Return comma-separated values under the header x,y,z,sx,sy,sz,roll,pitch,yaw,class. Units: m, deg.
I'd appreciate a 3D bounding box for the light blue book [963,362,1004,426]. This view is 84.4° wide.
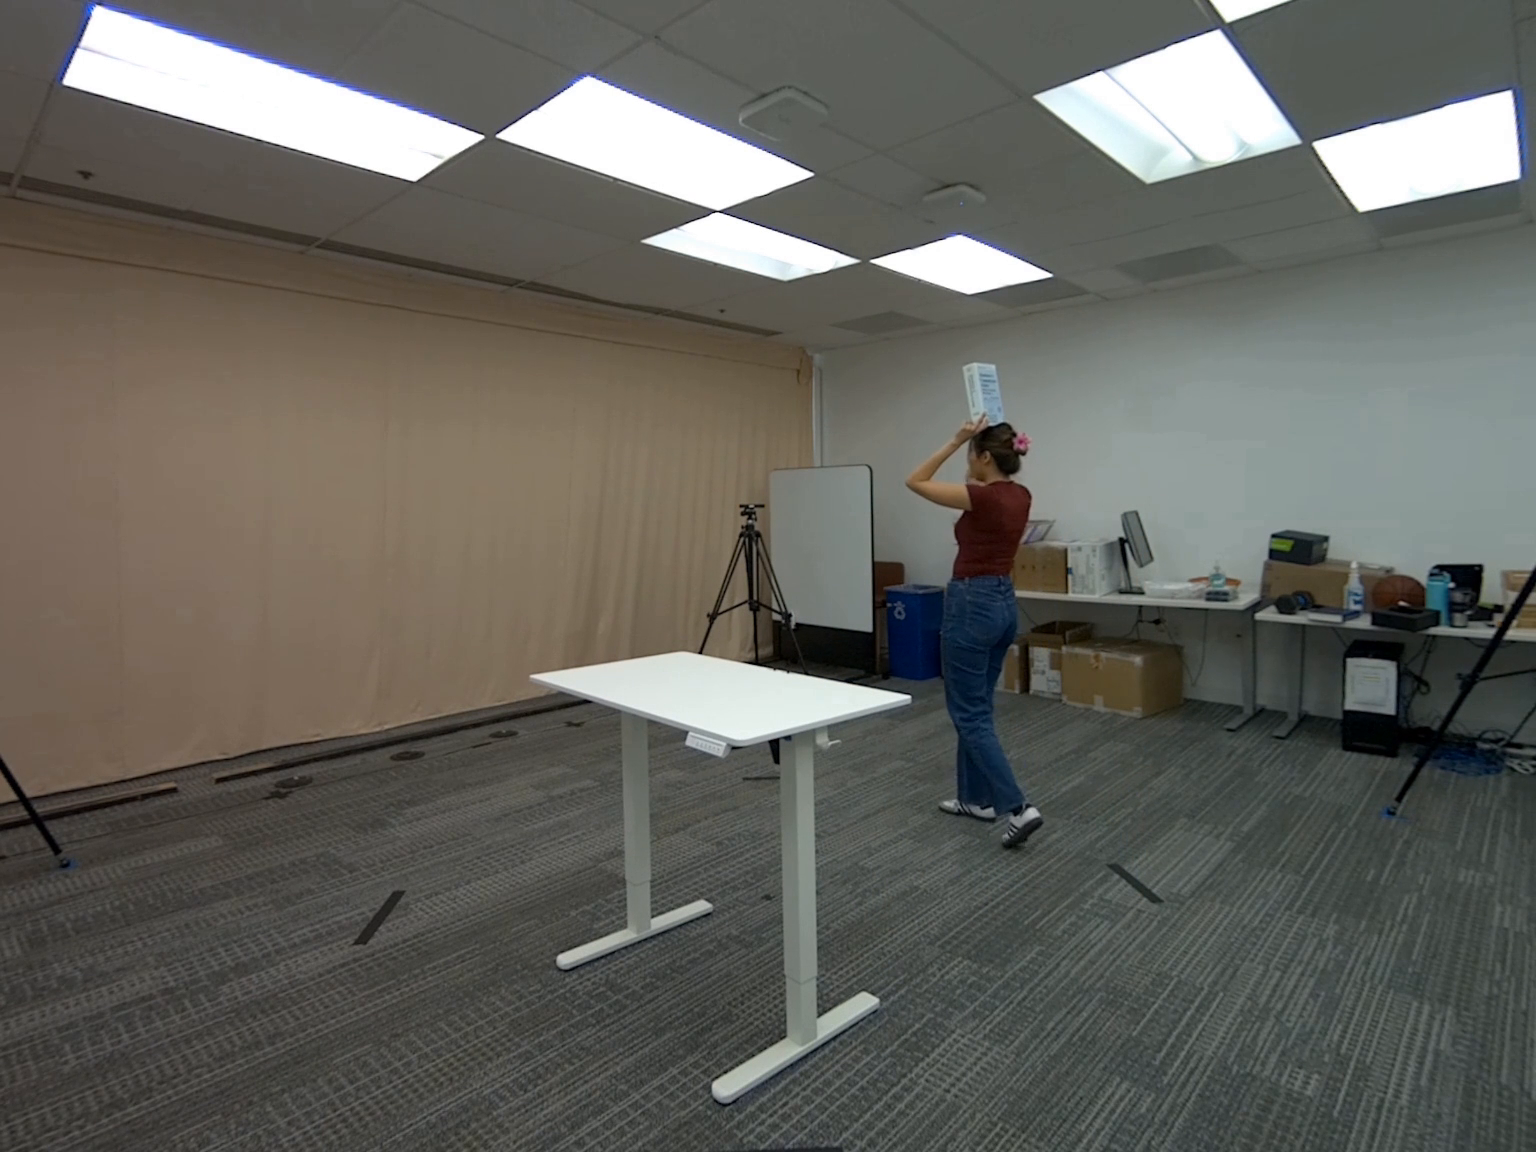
x,y,z,sx,sy,sz,roll,pitch,yaw,class
0.908,-0.747,3.518,0.061,0.261,0.186,-11,-1,42,light blue book
